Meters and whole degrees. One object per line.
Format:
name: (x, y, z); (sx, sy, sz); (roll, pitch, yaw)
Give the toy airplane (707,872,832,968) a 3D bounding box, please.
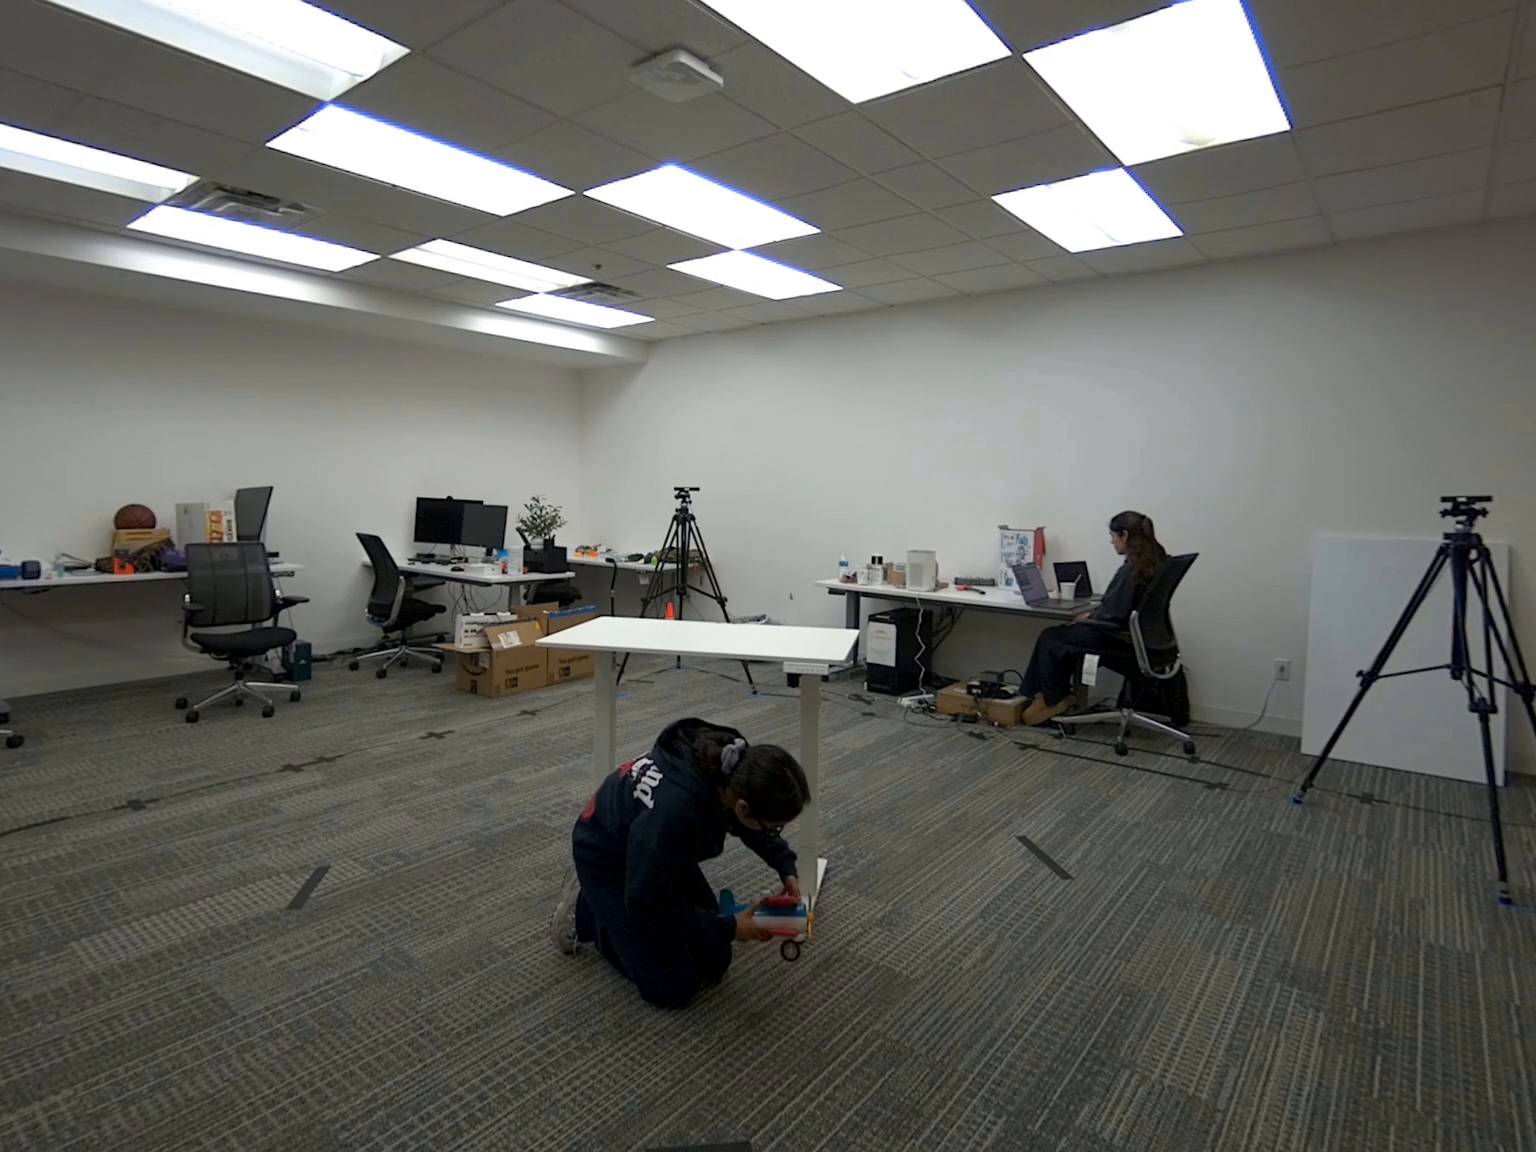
toy airplane: (-0.018, 0.921, 2.269); (0.254, 0.159, 0.253); (24, -25, -17)
